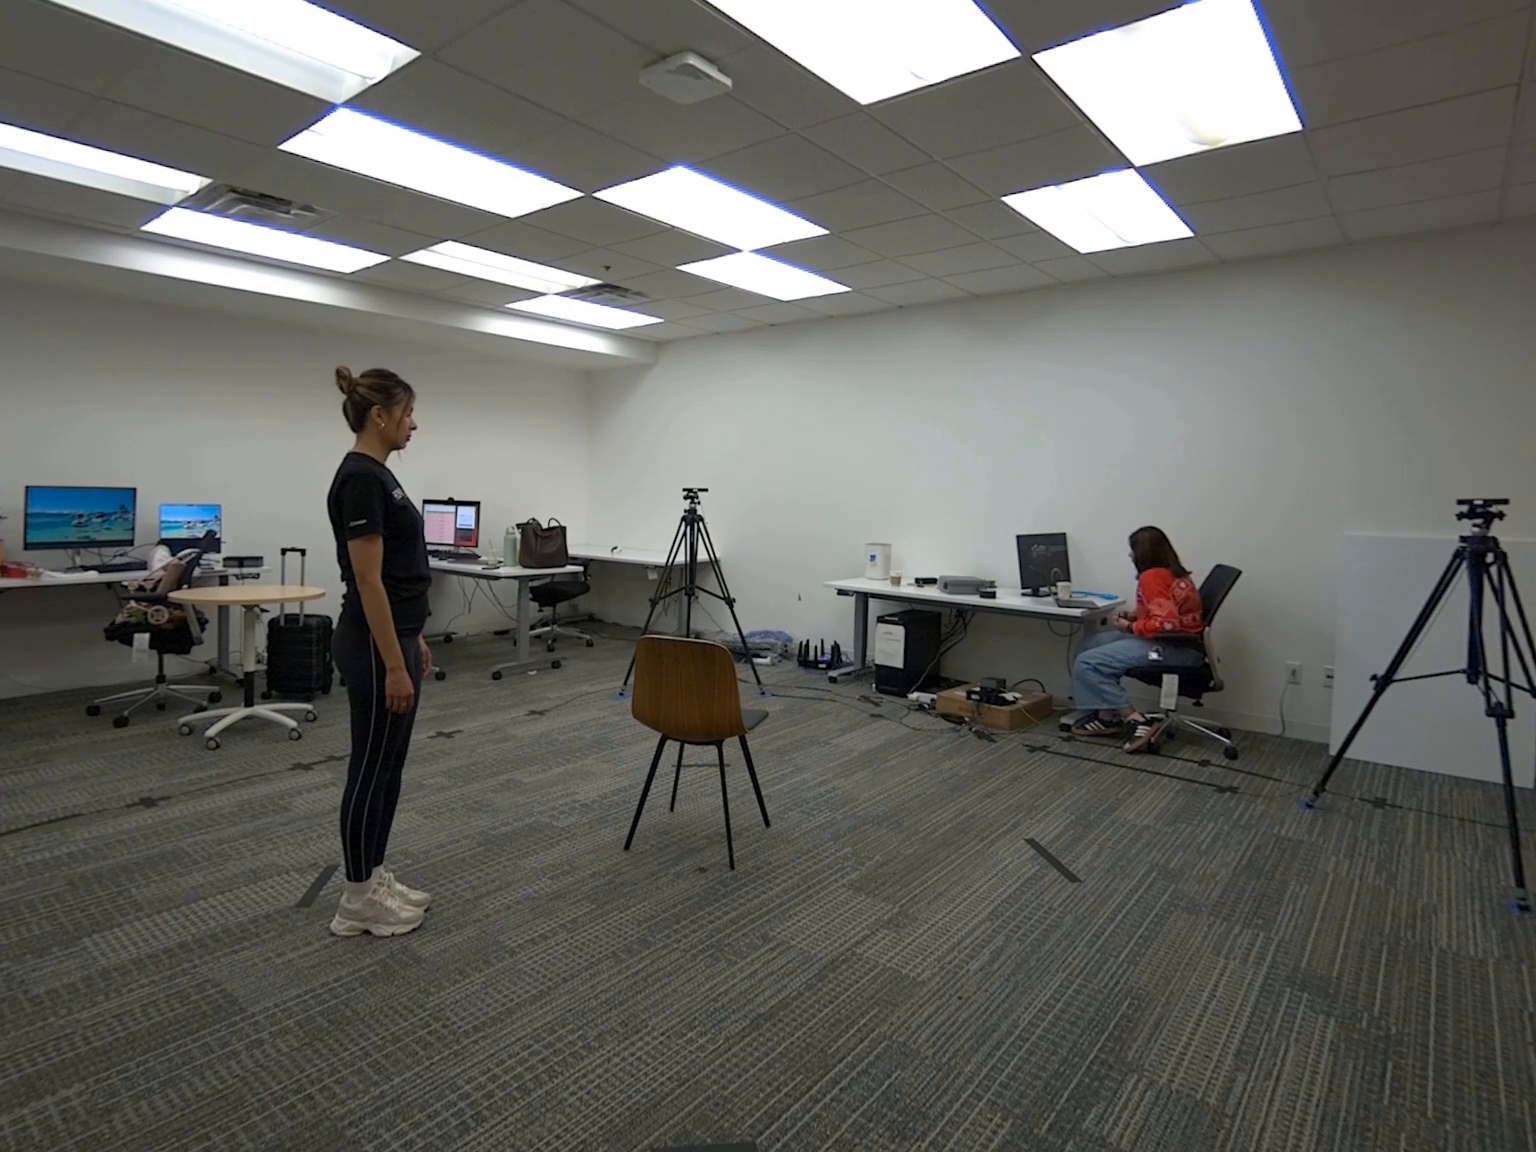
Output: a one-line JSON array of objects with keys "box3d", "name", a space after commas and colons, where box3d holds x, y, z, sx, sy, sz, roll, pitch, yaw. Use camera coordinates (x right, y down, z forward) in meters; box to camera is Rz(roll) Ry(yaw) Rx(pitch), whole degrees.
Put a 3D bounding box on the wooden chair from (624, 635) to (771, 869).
[{"box3d": [-0.277, 0.614, 3.374, 0.488, 0.871, 0.516, 2, 7, 19], "name": "wooden chair"}]
